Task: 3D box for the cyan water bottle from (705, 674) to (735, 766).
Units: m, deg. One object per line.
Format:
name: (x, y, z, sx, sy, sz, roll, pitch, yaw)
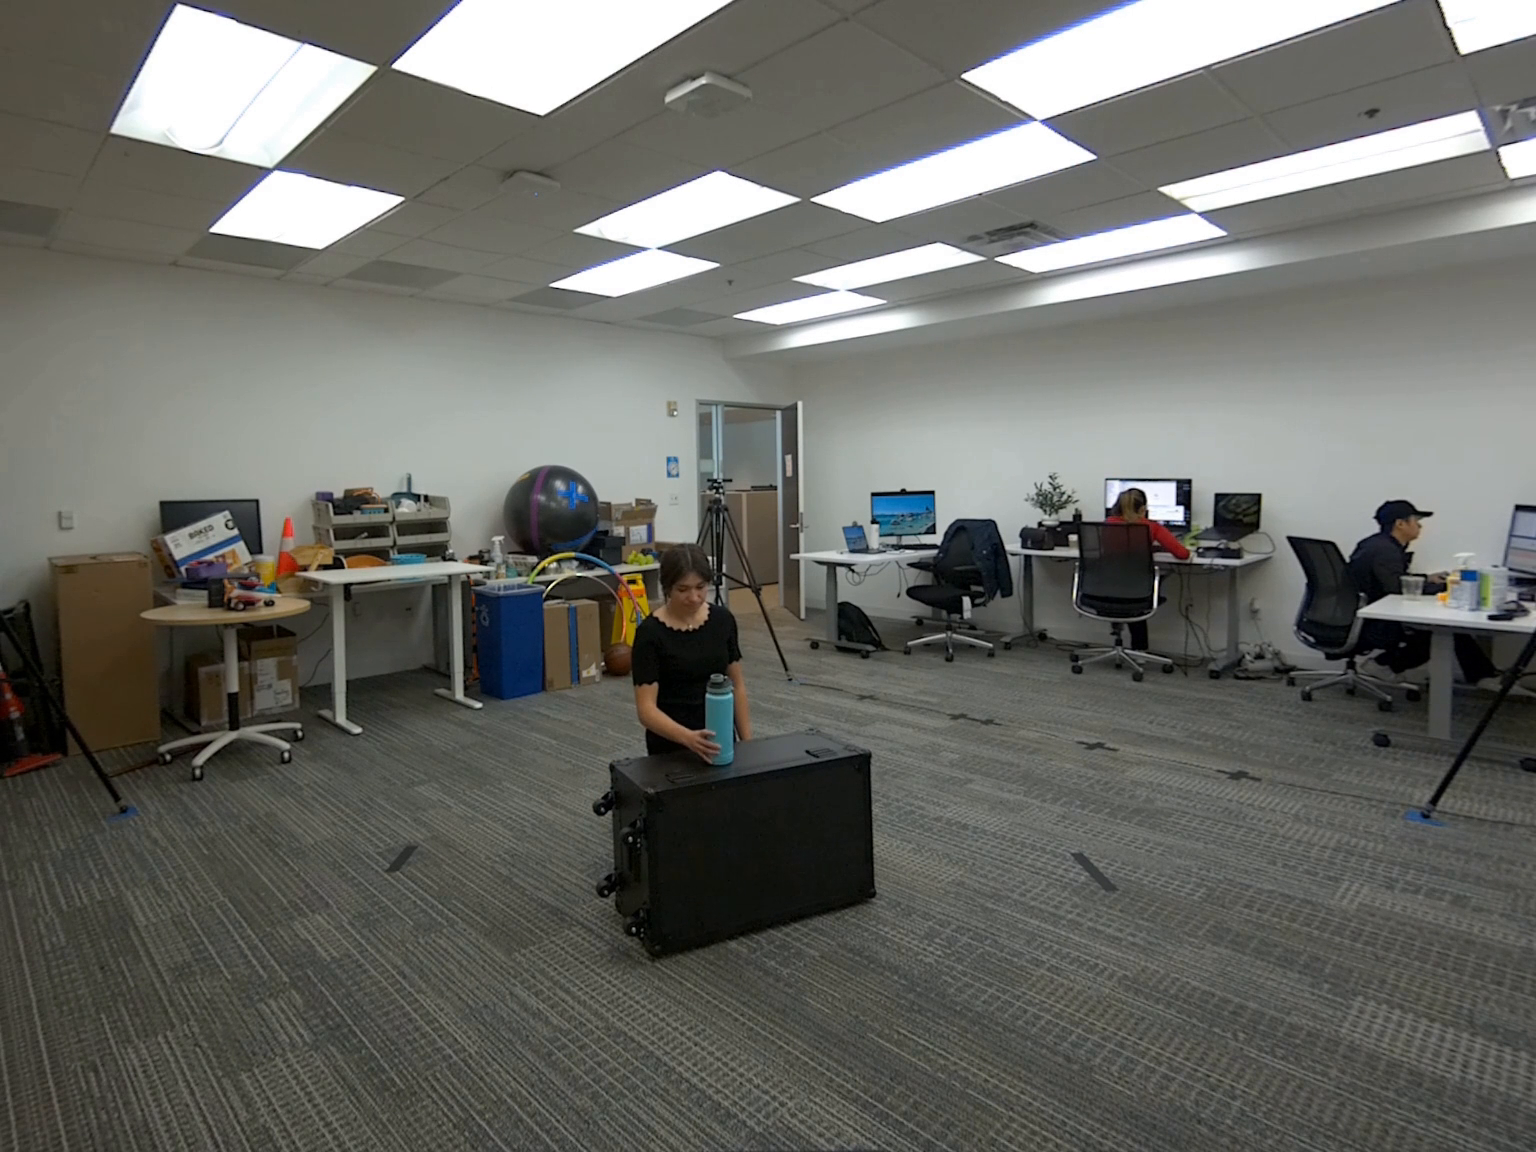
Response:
cyan water bottle: (-0.164, 0.454, 2.740, 0.092, 0.281, 0.093, 1, 8, -2)
